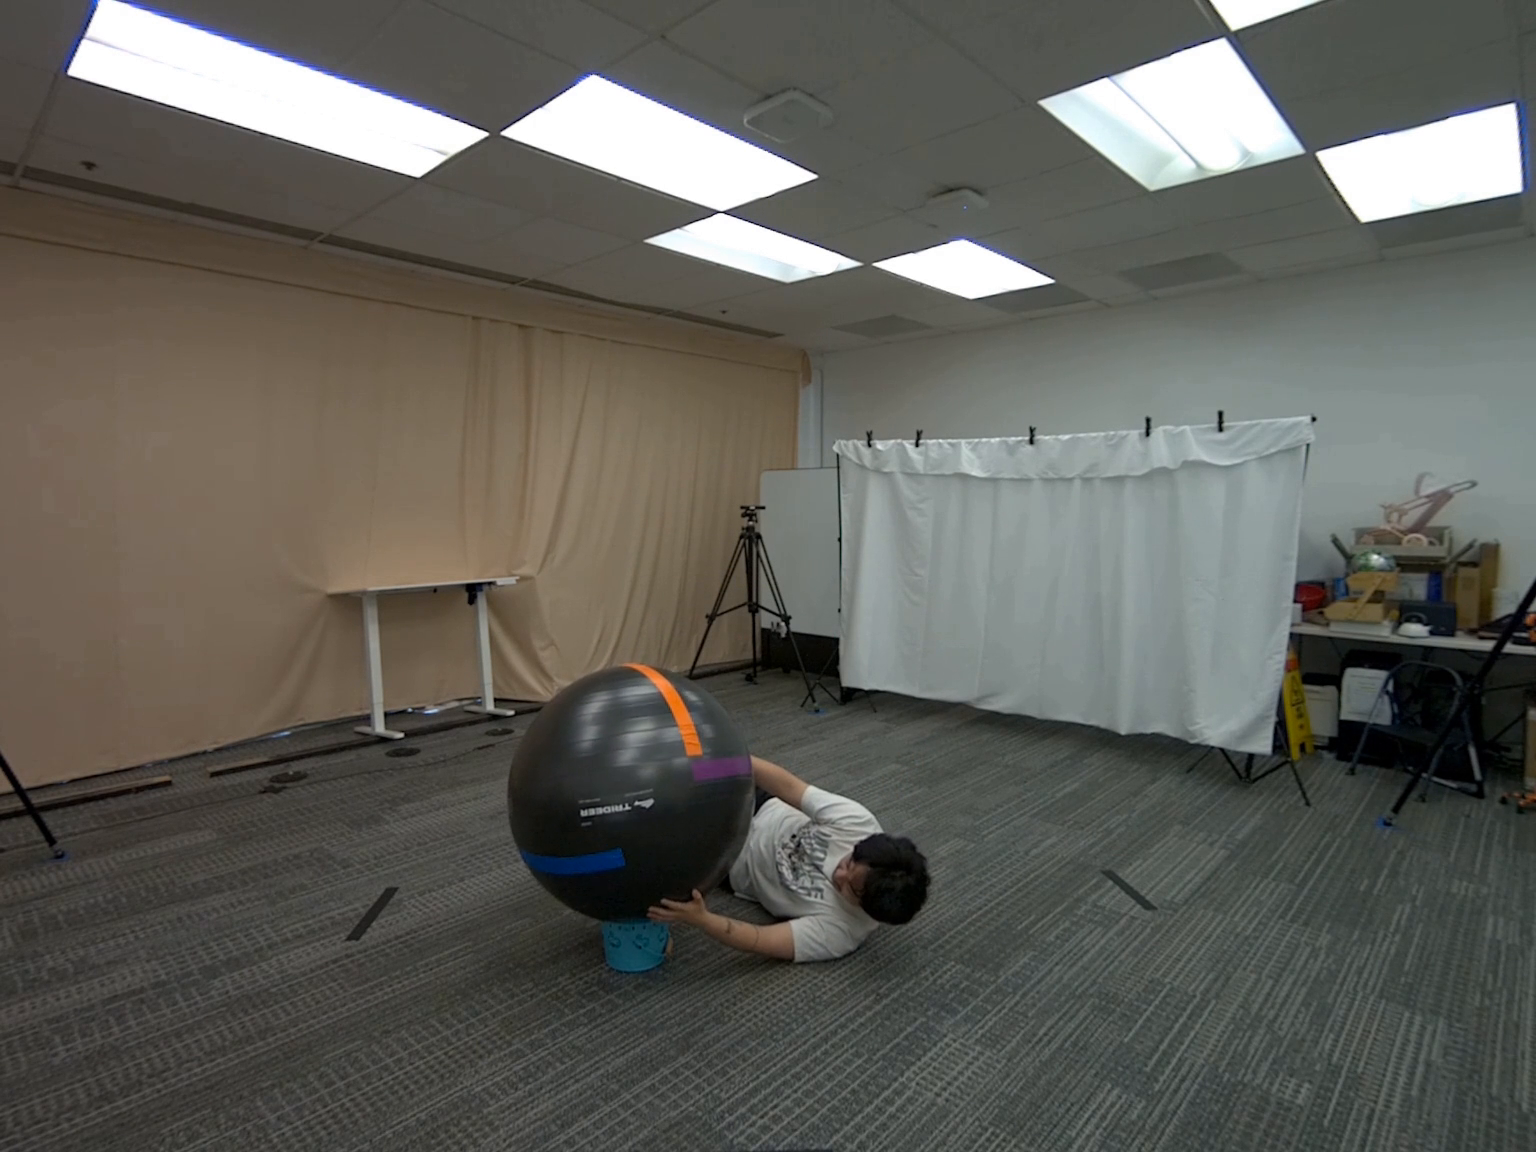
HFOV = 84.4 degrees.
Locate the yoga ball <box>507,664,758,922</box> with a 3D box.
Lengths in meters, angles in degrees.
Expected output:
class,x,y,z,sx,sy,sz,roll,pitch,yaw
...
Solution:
class,x,y,z,sx,sy,sz,roll,pitch,yaw
yoga ball,-0.425,0.662,2.605,0.757,0.756,0.761,0,4,-2
